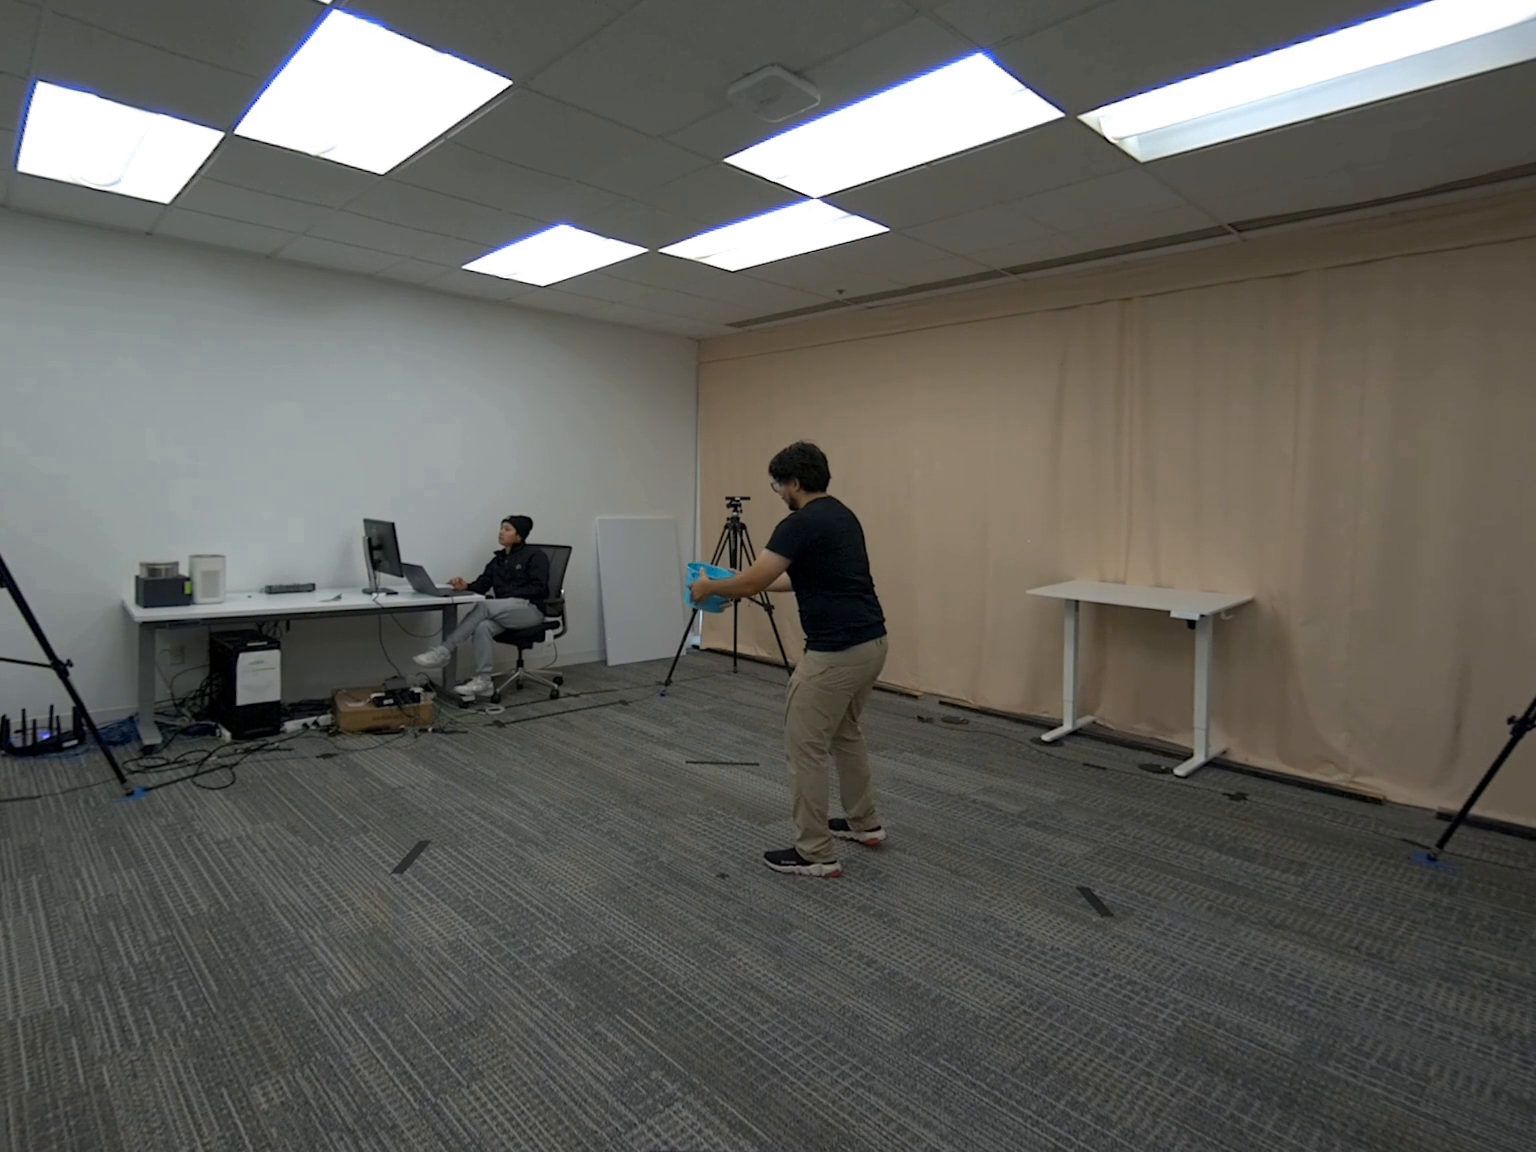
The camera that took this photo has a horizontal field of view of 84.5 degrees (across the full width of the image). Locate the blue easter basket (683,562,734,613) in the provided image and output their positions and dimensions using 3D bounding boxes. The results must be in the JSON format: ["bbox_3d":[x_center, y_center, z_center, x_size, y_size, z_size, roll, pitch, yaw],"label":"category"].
[{"bbox_3d":[-0.237,0.059,3.536,0.243,0.155,0.246,11,11,-3],"label":"blue easter basket"}]
